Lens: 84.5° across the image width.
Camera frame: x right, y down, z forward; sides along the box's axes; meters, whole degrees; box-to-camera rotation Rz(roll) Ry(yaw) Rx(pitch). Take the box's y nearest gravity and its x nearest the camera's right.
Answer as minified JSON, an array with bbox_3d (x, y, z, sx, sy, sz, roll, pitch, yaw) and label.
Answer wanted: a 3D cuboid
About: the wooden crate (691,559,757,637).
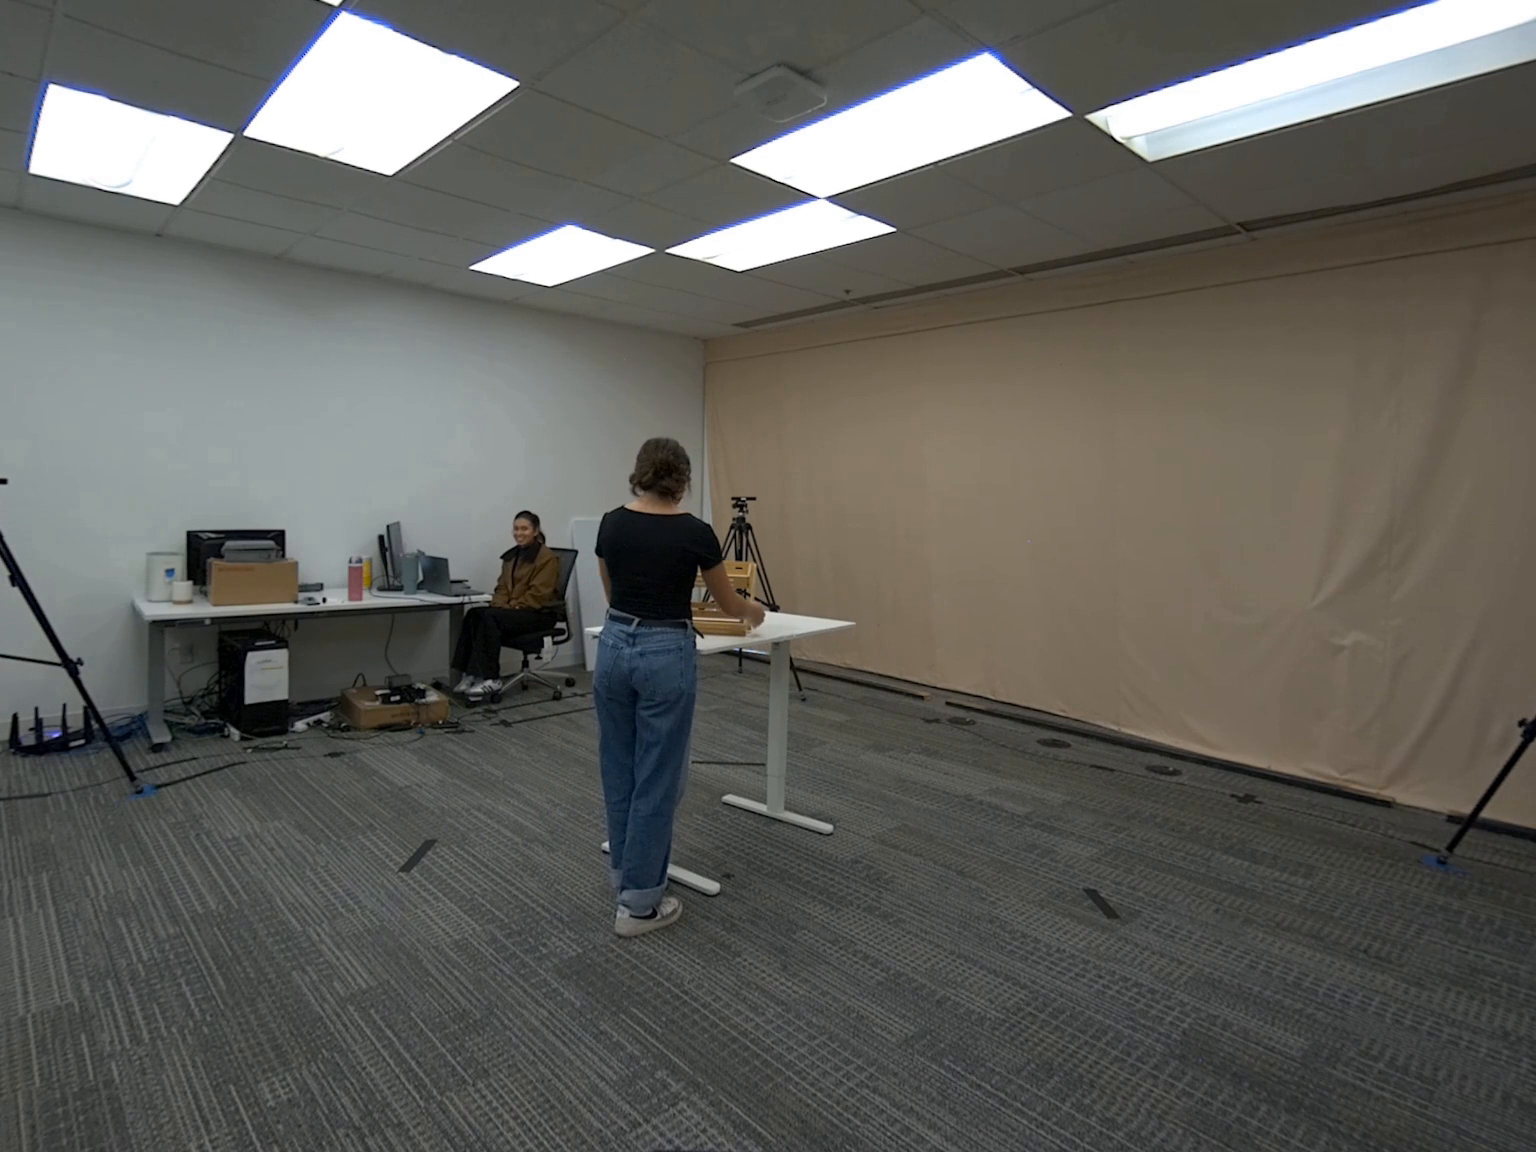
[{"bbox_3d":[-0.228,0.077,3.259,0.326,0.273,0.301,3,3,5],"label":"wooden crate"}]
